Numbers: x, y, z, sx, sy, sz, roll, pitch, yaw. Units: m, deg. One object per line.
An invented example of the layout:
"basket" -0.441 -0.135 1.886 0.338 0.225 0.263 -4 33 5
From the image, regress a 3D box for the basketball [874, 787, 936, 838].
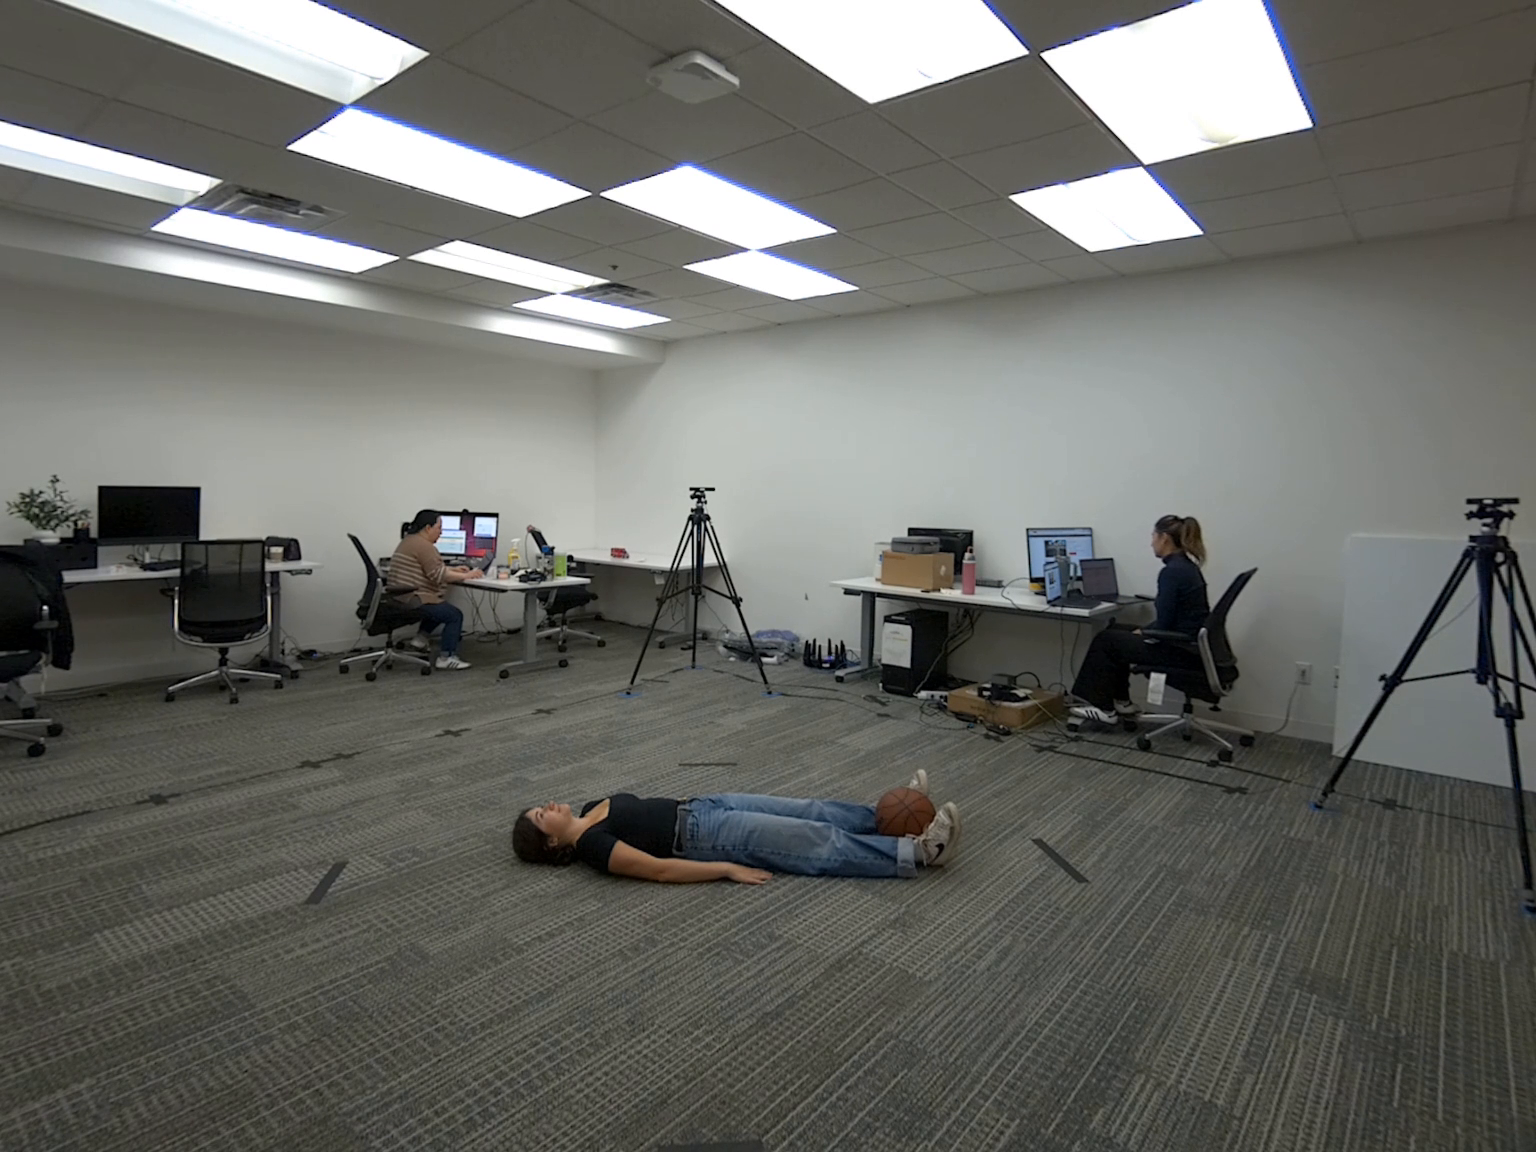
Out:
"basketball" 0.530 0.940 3.312 0.235 0.235 0.237 1 4 -2
